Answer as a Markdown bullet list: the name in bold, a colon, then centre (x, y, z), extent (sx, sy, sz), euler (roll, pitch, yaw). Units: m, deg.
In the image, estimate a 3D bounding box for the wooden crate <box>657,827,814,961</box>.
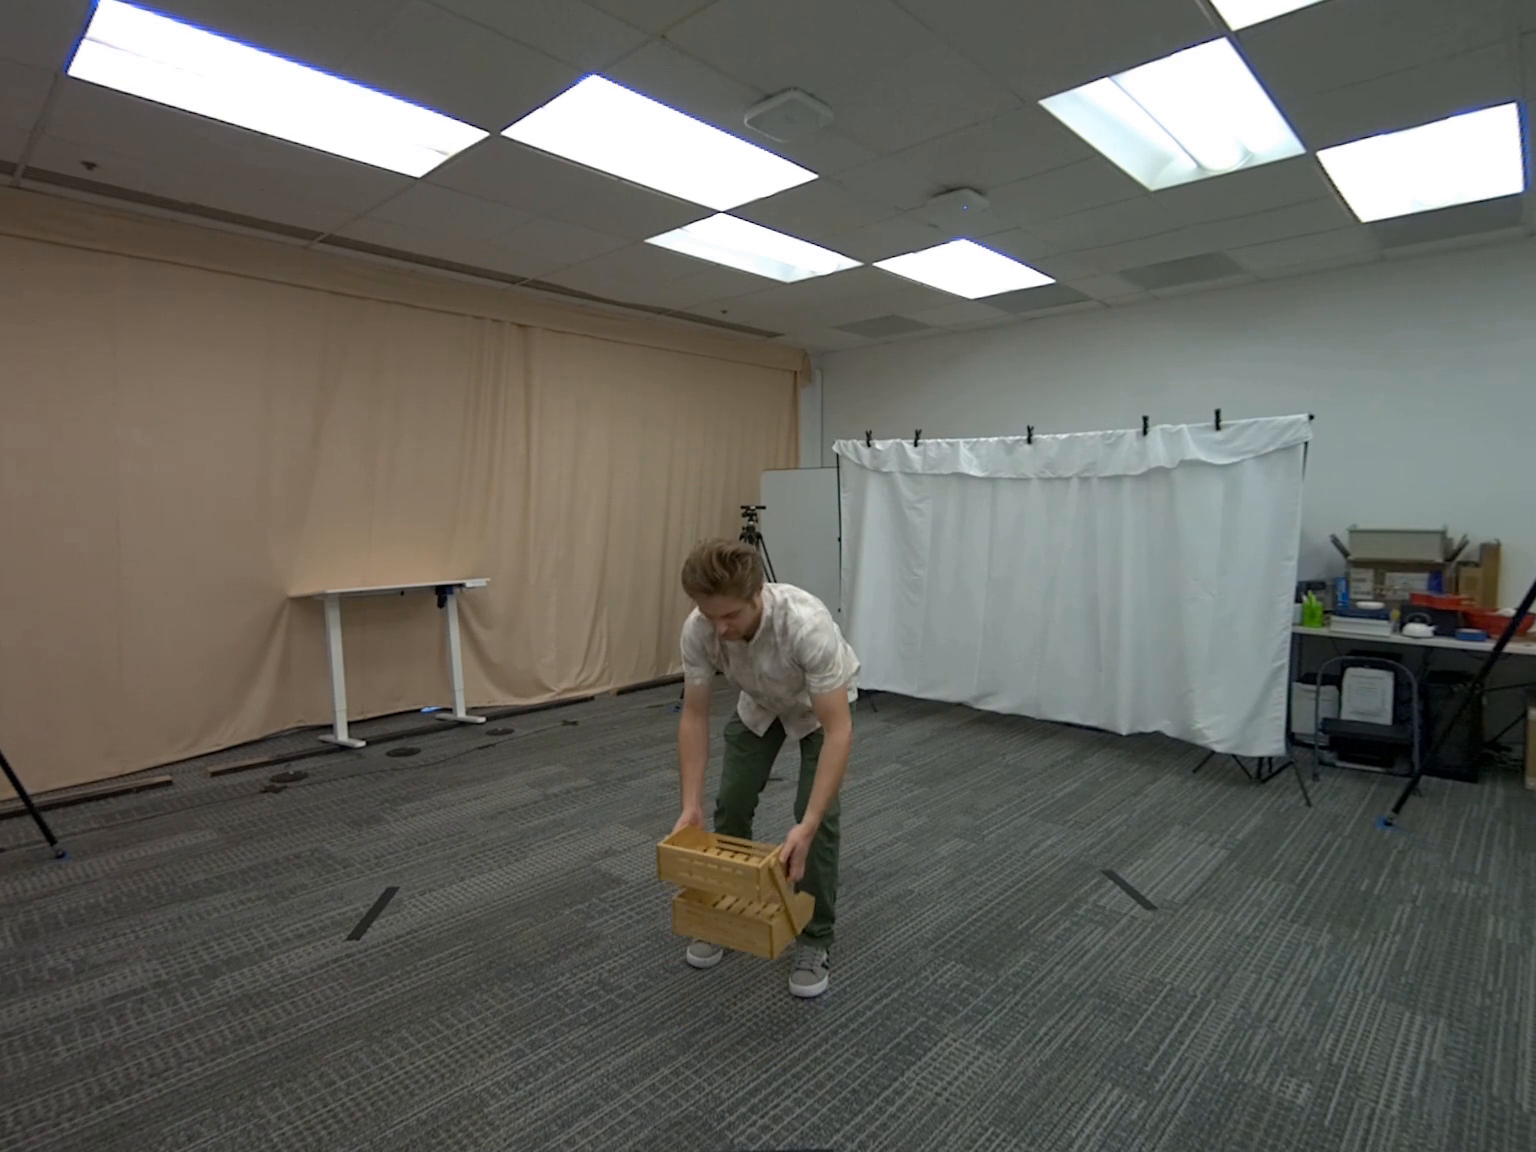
- **wooden crate**: centre (-0.076, 0.799, 2.221), extent (0.333, 0.272, 0.294), euler (1, 6, 29)
